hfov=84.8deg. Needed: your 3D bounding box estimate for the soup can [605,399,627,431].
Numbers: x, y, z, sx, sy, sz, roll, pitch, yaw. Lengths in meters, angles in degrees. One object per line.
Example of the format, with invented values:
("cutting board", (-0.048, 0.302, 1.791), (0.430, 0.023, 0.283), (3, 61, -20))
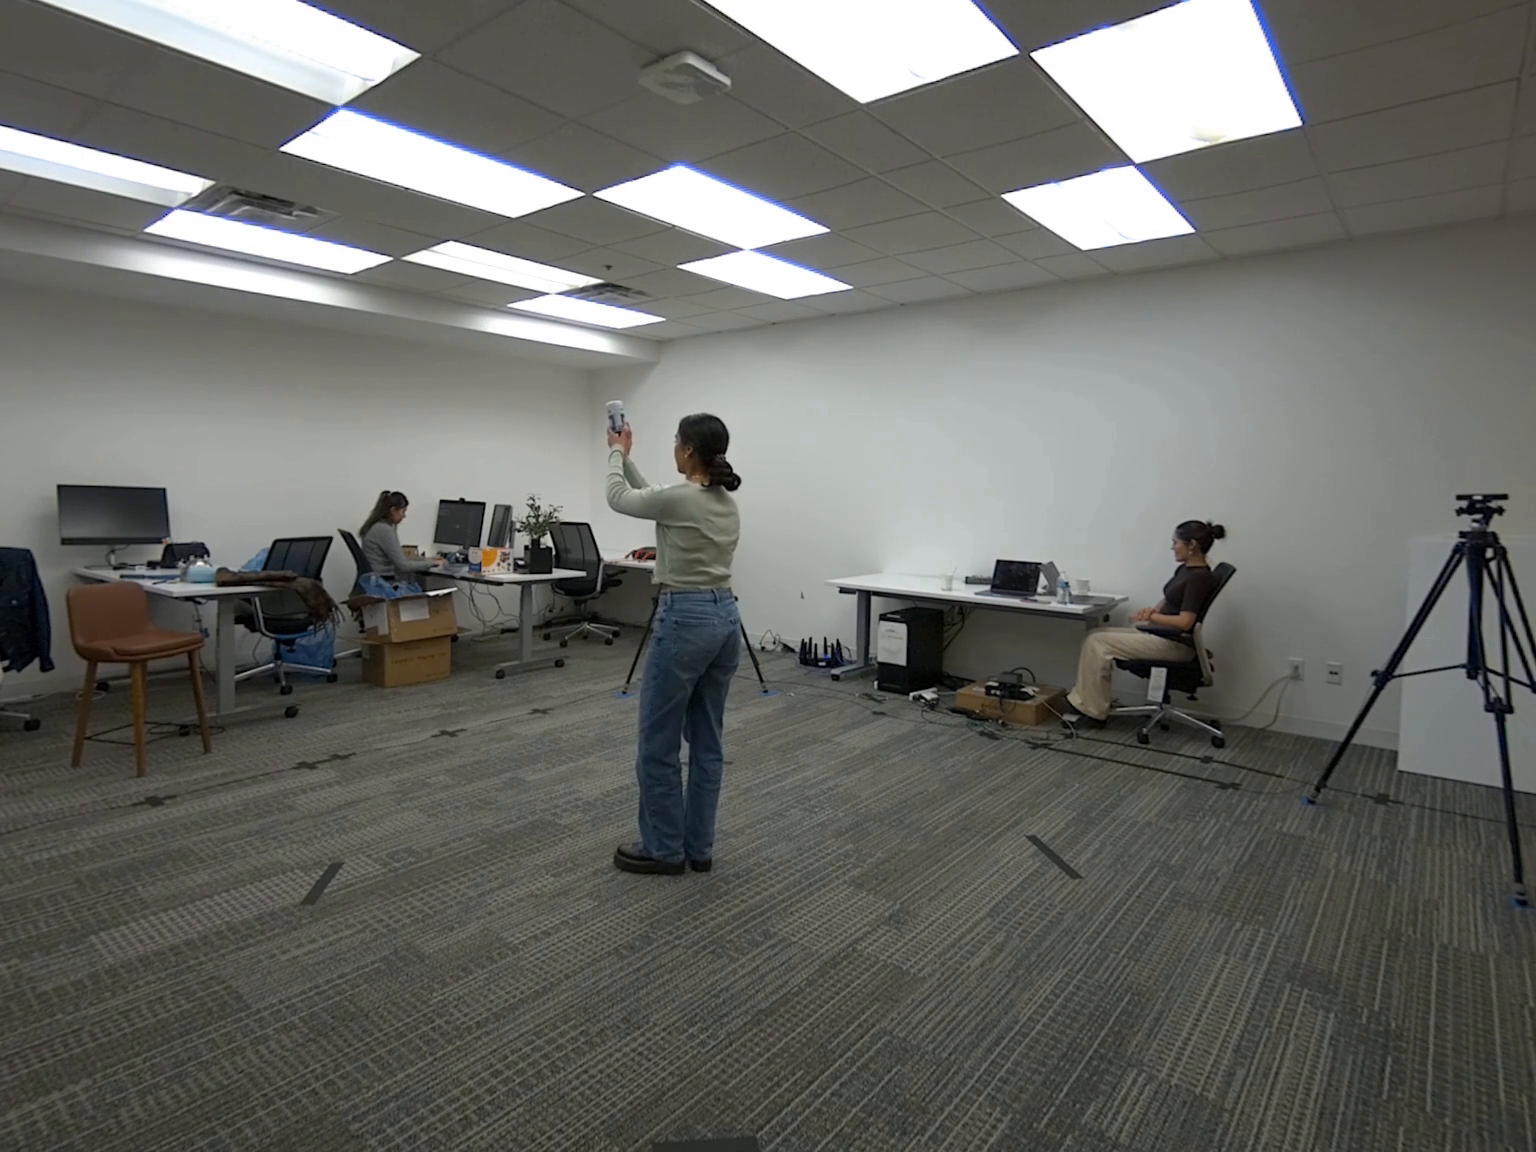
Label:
("soup can", (-0.606, -0.635, 3.361), (0.067, 0.122, 0.067), (-7, -2, -2))
